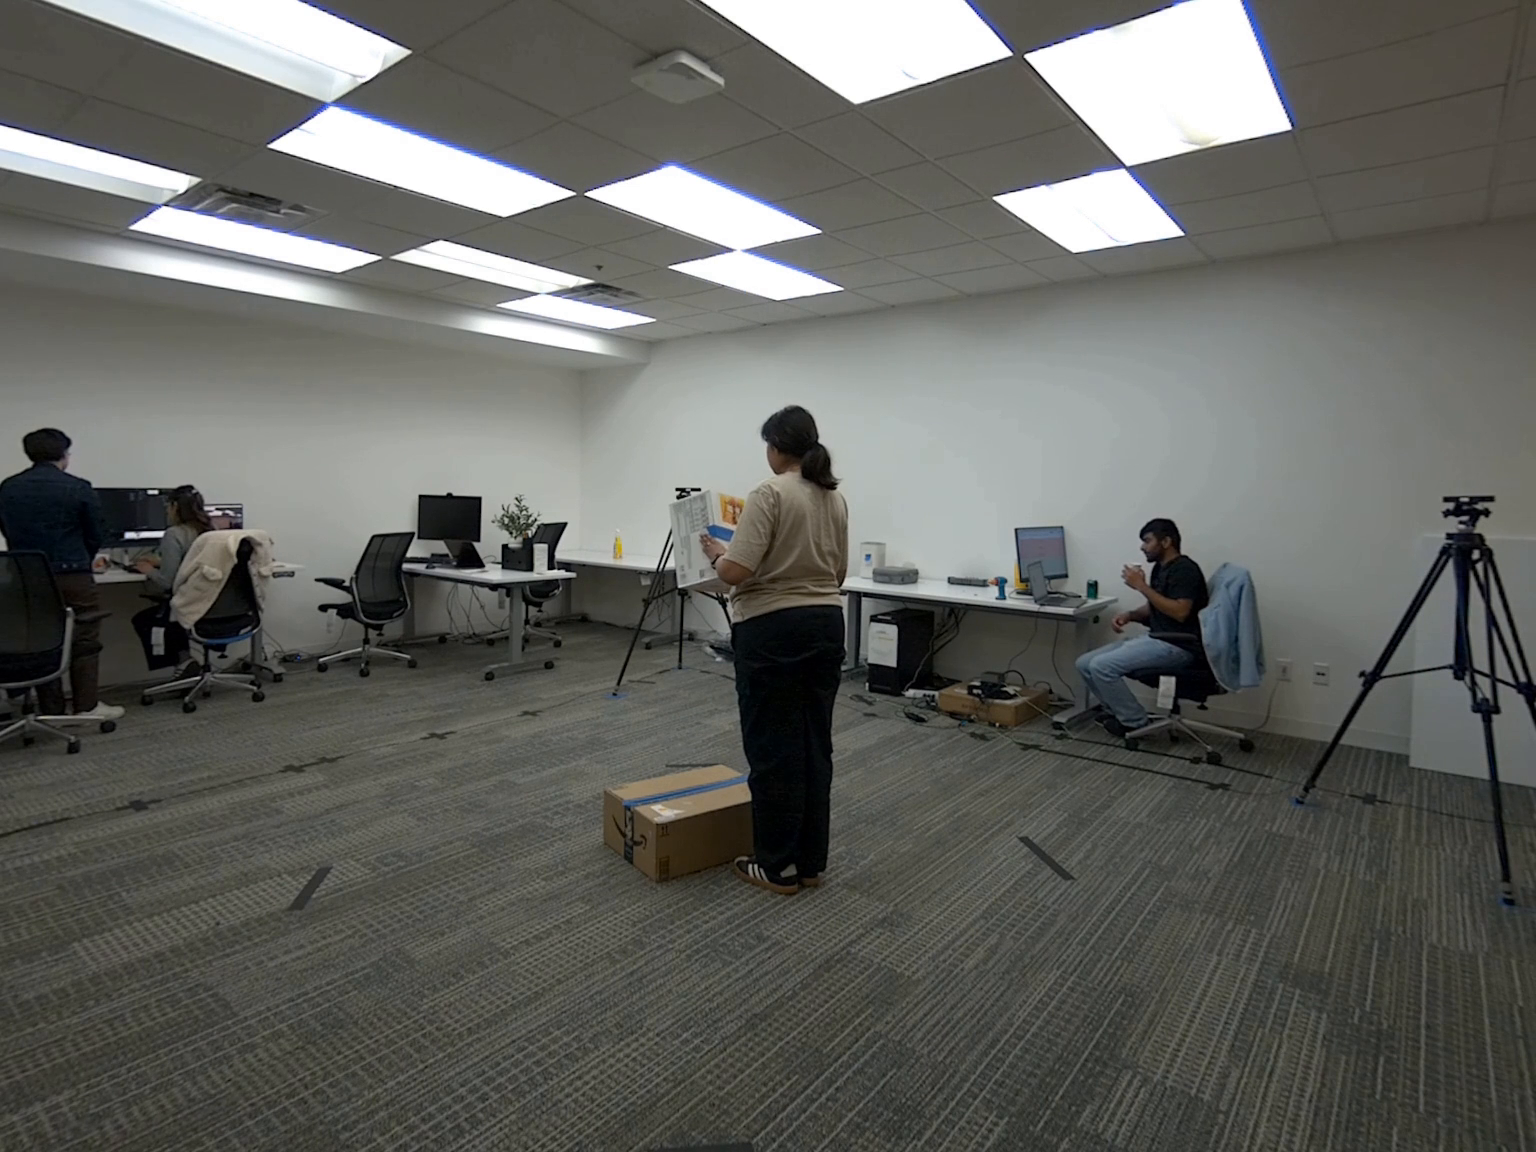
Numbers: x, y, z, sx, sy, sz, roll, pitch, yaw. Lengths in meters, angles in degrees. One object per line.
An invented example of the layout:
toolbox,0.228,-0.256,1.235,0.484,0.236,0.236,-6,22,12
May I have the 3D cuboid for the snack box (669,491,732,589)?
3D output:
snack box,-0.183,-0.121,3.348,0.210,0.346,0.391,-17,-16,32
